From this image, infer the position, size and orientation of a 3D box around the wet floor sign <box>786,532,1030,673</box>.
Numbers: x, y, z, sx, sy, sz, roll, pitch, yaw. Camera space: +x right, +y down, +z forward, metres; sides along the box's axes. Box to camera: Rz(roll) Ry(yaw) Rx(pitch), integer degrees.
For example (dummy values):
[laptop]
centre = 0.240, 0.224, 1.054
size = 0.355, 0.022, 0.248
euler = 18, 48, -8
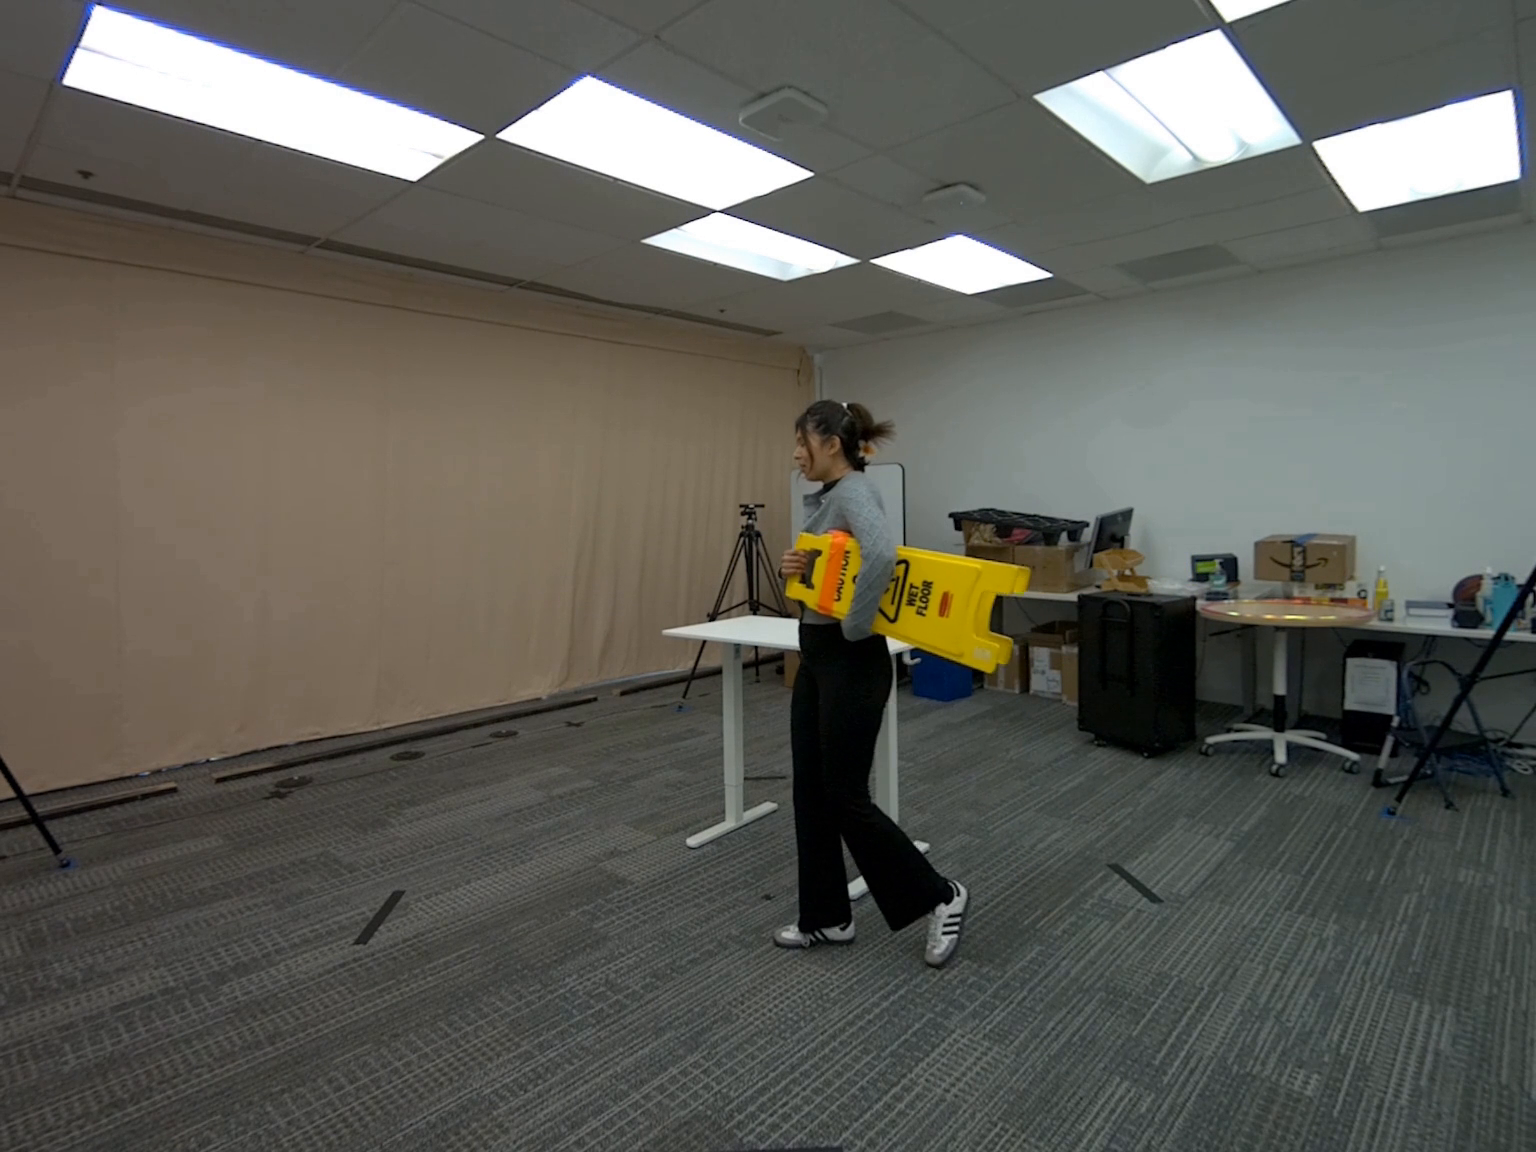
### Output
[wet floor sign]
centre = 0.368, 0.039, 2.365
size = 0.663, 0.281, 0.283
euler = 14, 6, 24
